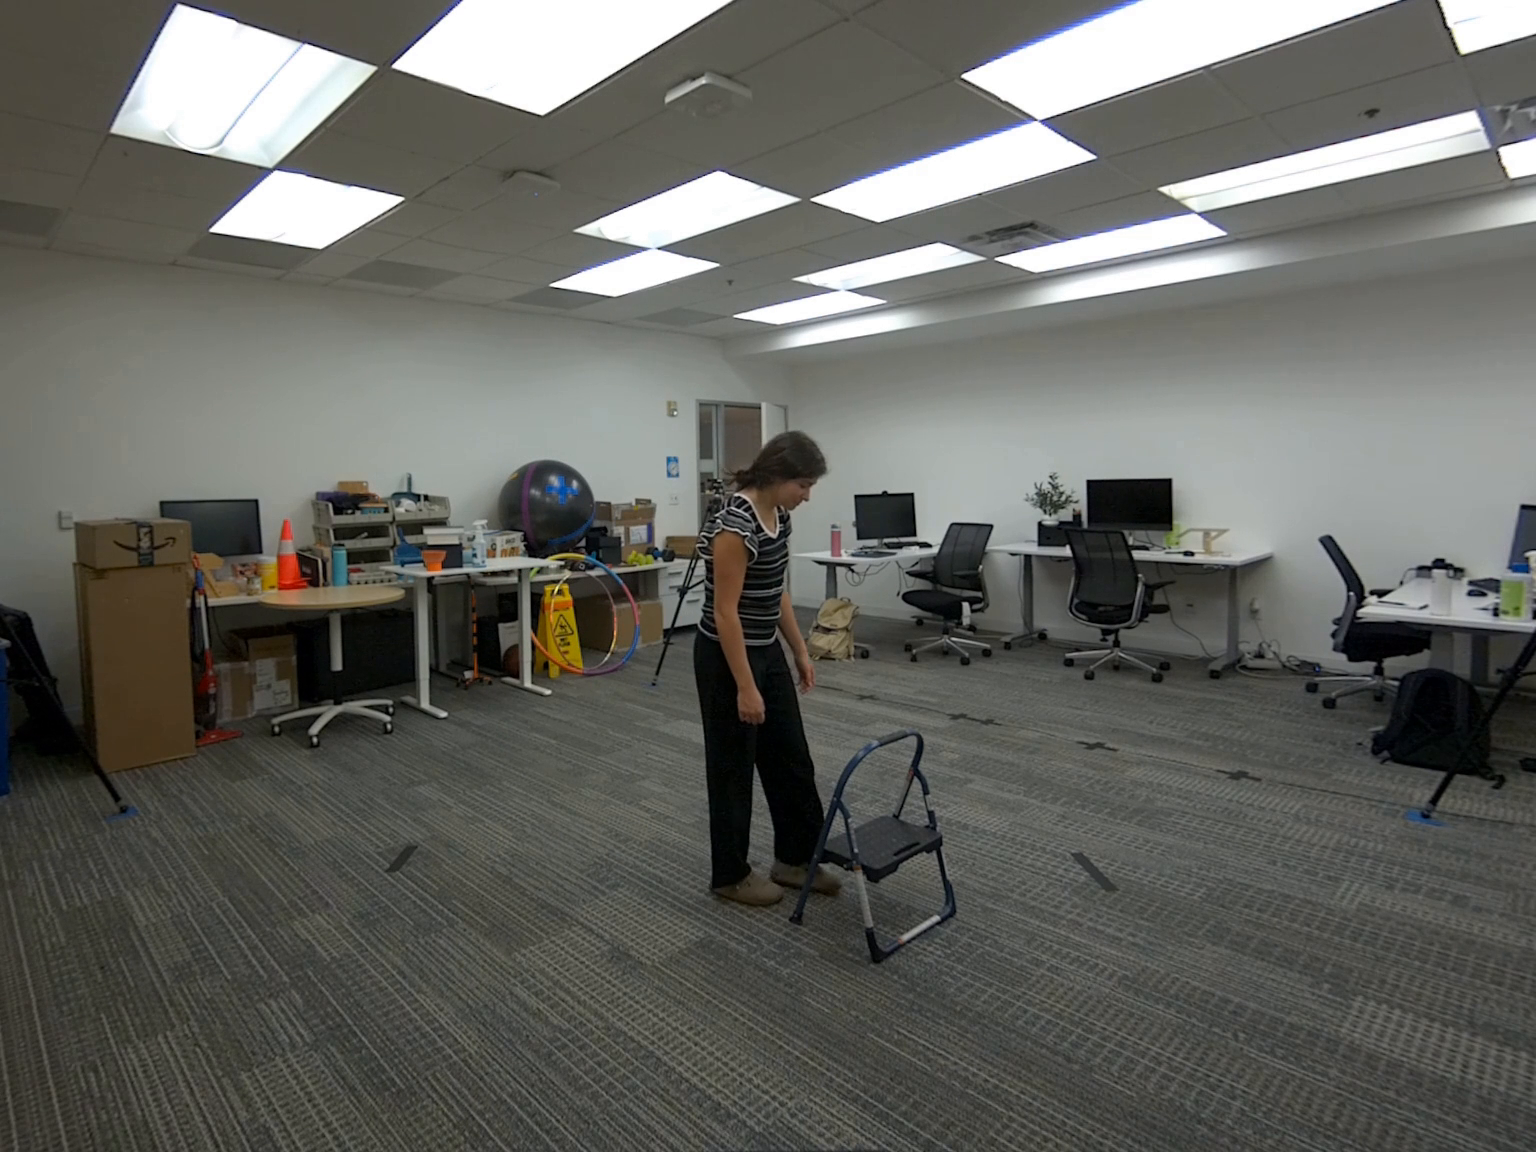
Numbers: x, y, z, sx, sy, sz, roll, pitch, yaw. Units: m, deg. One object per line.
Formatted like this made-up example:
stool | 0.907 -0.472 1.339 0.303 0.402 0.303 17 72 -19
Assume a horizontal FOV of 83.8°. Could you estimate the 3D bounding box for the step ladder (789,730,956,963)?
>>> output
step ladder | 0.333 0.783 2.693 0.419 0.604 0.360 -5 6 -44
